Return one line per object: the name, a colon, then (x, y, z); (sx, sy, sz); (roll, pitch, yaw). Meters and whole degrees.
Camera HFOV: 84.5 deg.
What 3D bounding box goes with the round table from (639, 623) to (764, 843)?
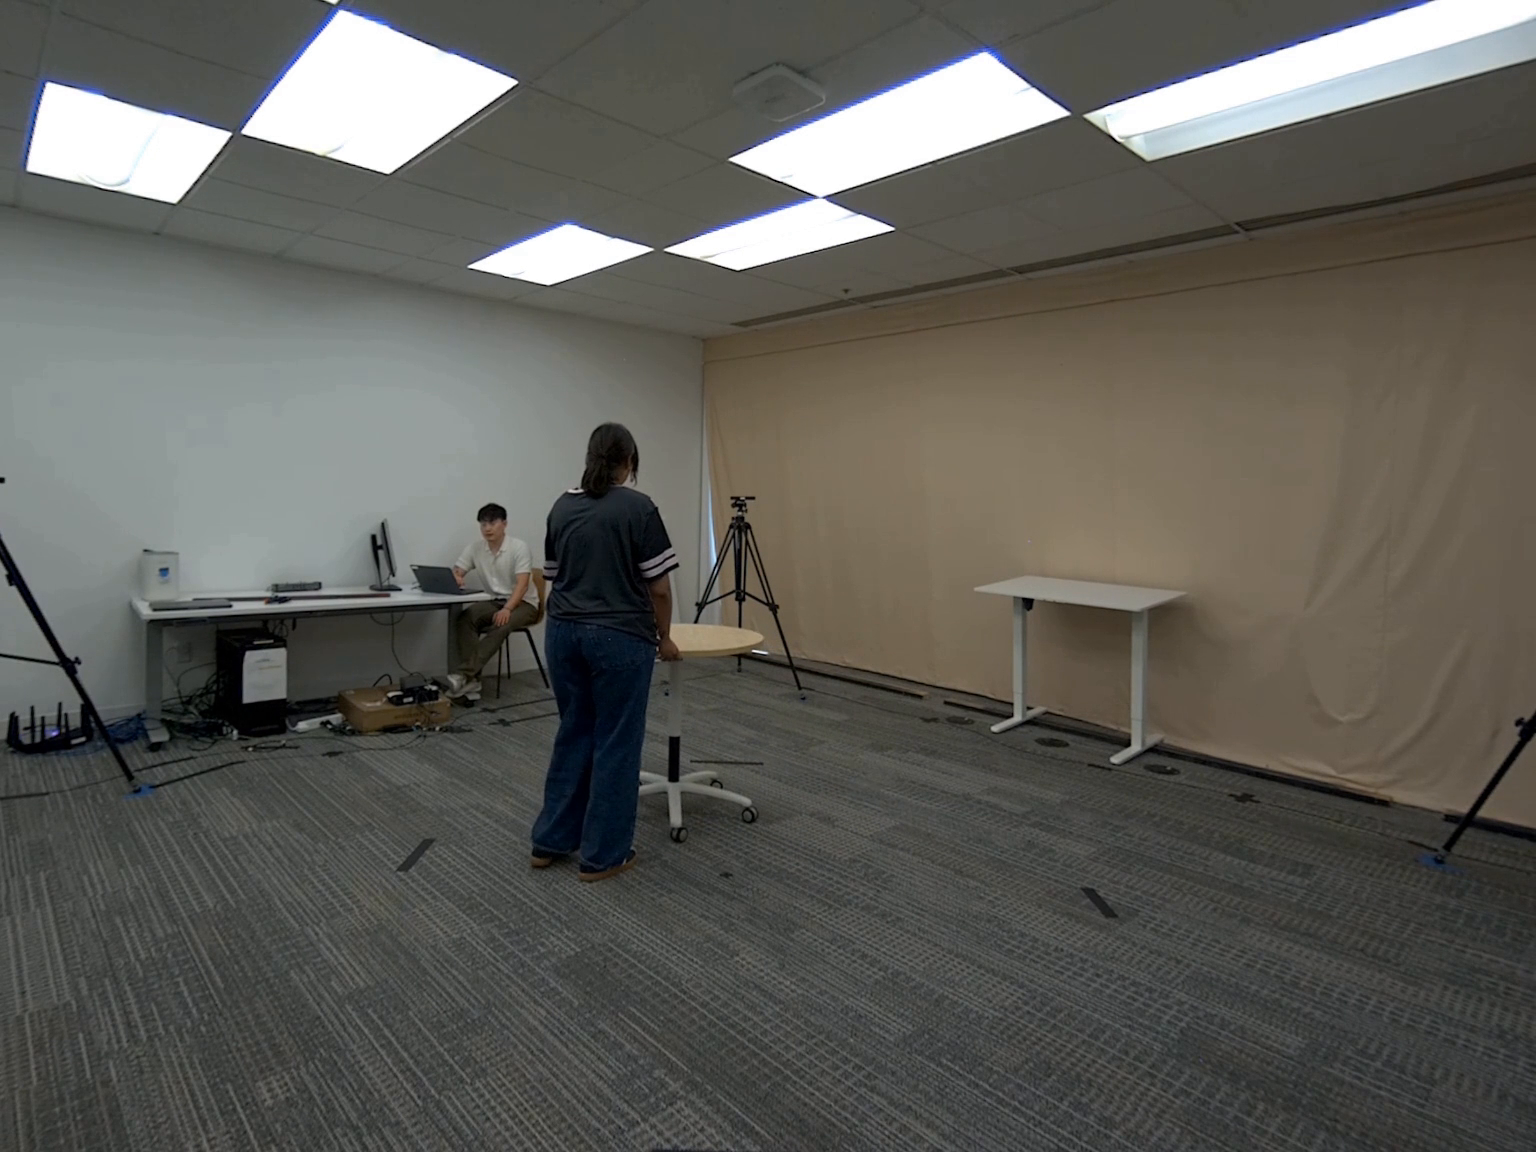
round table: (-0.410, 0.656, 3.695); (0.763, 0.792, 0.766); (1, 4, -1)
